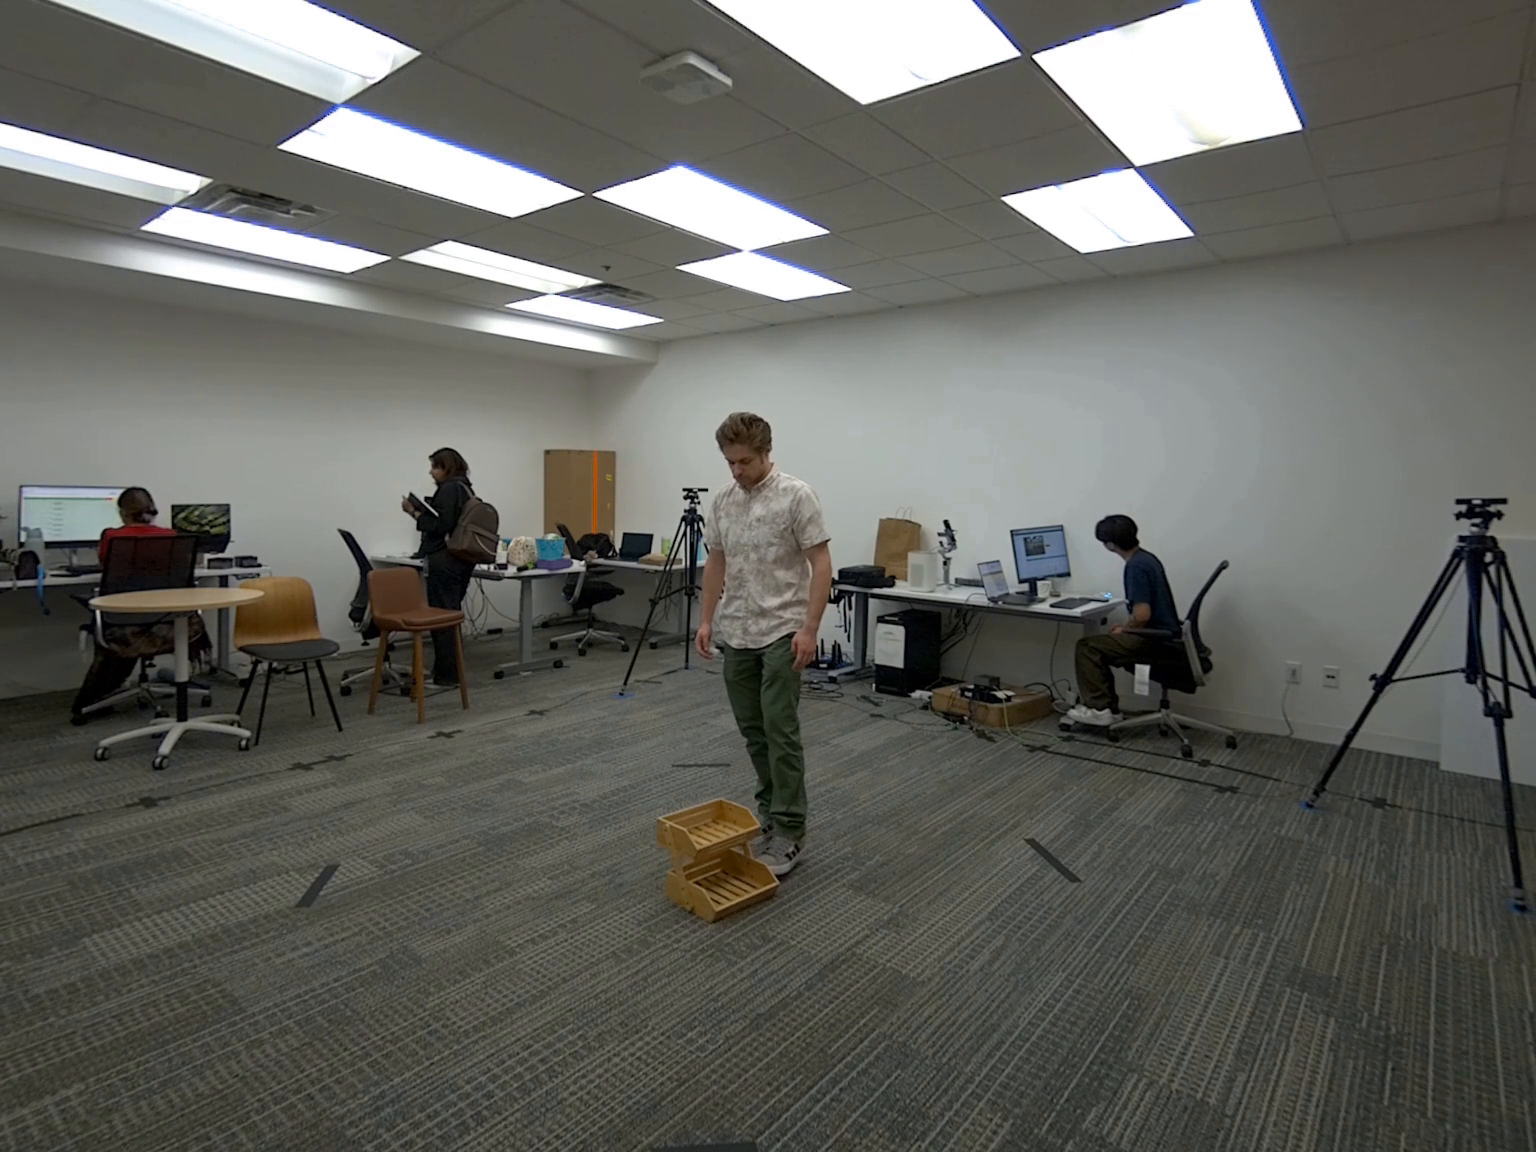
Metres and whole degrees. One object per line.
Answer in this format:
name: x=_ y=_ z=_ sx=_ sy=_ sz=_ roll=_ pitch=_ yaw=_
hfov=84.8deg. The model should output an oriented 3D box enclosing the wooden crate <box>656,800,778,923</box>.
wooden crate: x=-0.176 y=0.955 z=2.909 sx=0.312 sy=0.273 sz=0.314 roll=4 pitch=5 yaw=45
